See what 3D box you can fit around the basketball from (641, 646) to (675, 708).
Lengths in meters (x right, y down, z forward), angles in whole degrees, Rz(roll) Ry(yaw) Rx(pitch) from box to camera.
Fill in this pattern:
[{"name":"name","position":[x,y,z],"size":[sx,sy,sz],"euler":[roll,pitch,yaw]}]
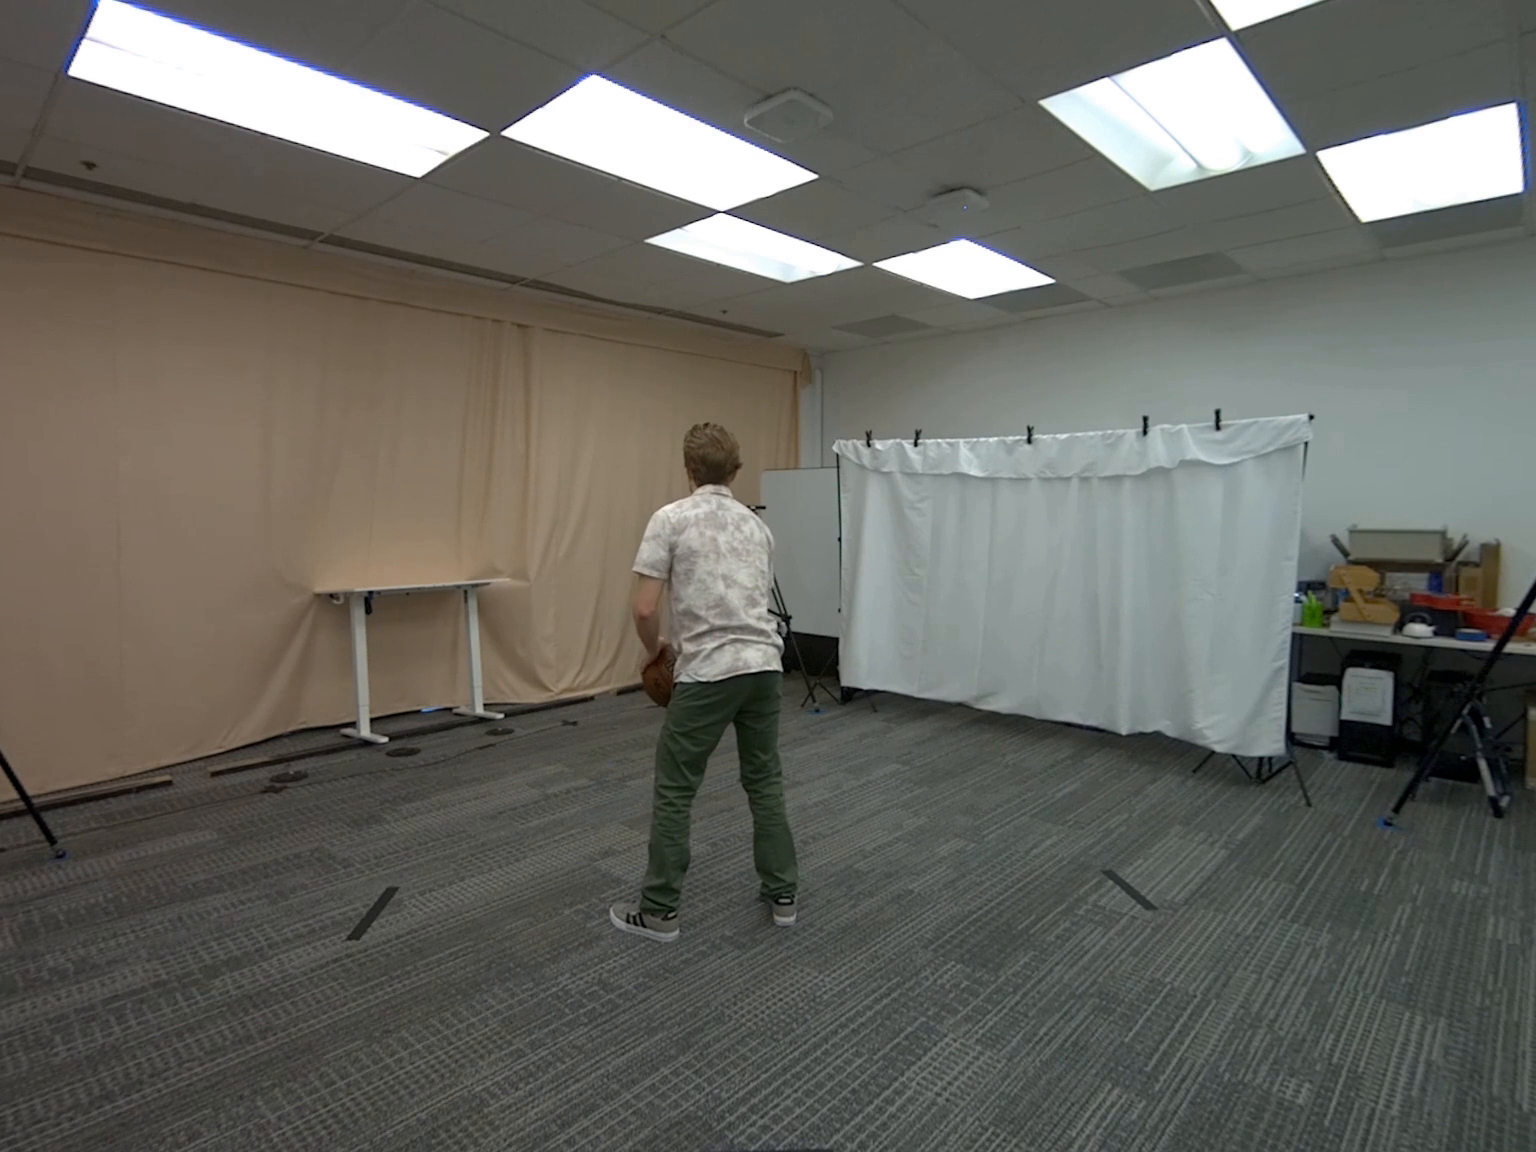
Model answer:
[{"name":"basketball","position":[-0.342,0.351,3.074],"size":[0.236,0.235,0.237],"euler":[0,4,-2]}]
